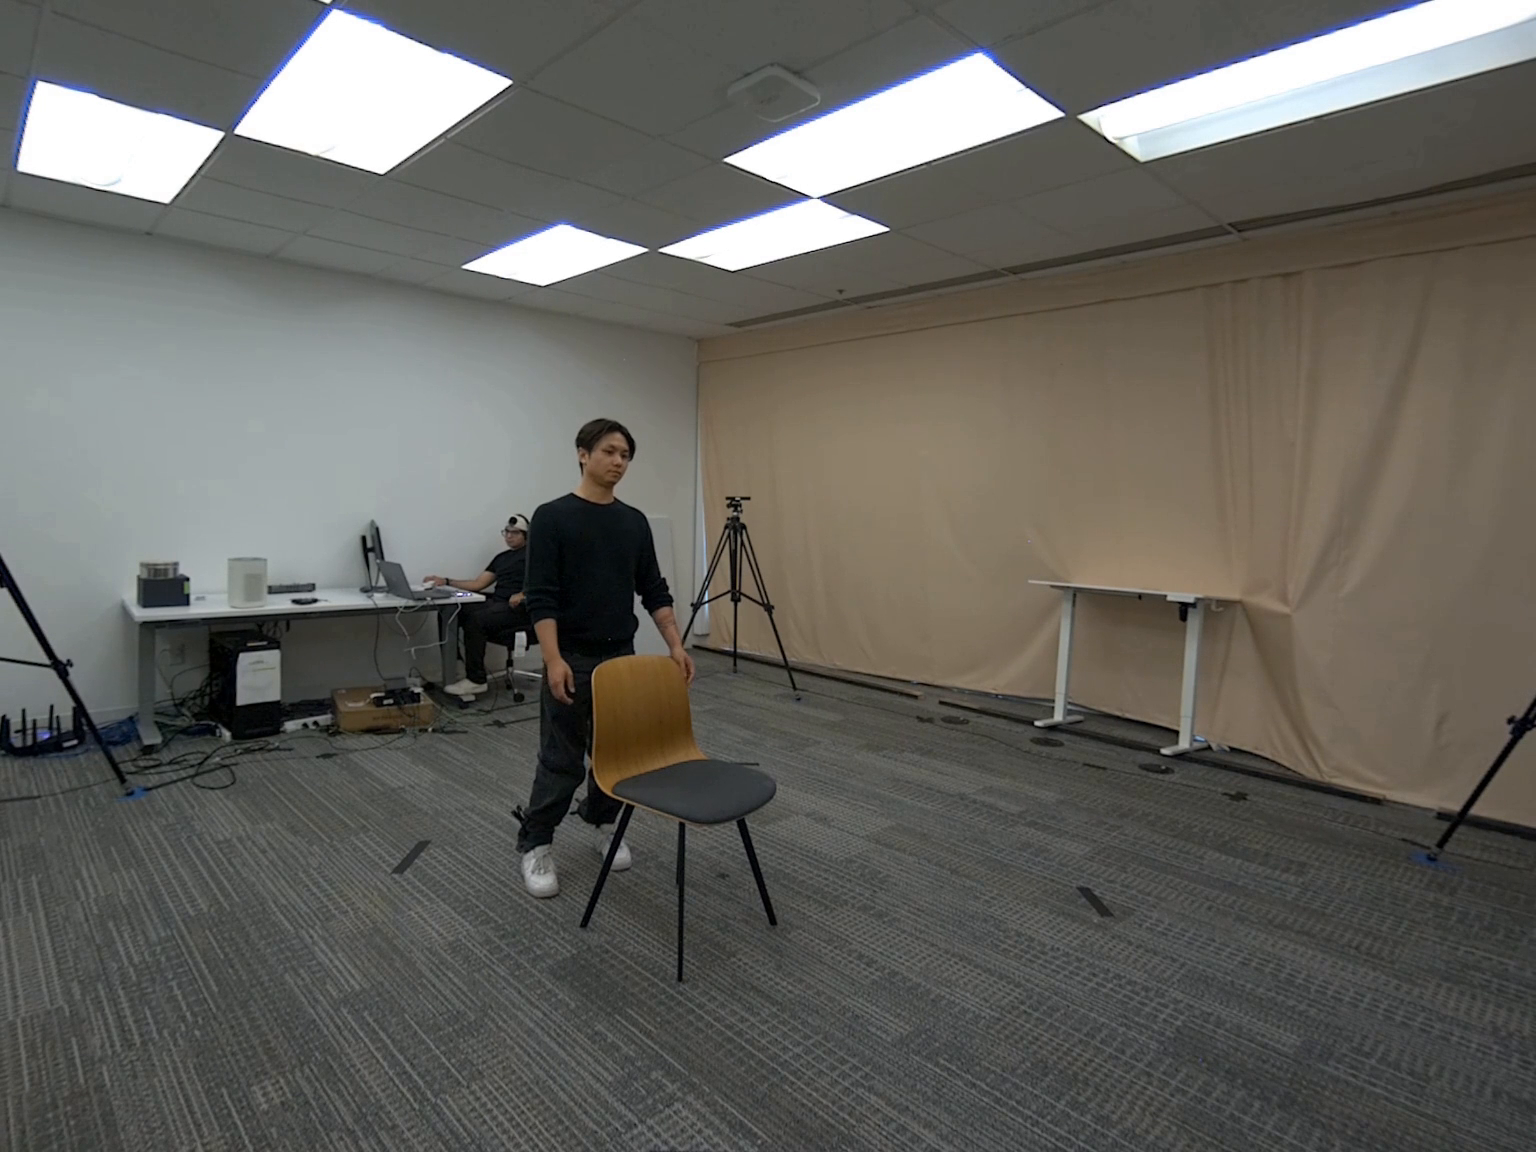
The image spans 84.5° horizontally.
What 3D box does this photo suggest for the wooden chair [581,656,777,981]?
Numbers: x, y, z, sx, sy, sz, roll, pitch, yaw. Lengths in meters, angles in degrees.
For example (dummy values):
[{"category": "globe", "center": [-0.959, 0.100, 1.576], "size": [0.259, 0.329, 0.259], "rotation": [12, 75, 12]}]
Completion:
[{"category": "wooden chair", "center": [-0.276, 0.712, 2.694], "size": [0.535, 0.877, 0.467], "rotation": [-2, 0, 40]}]
